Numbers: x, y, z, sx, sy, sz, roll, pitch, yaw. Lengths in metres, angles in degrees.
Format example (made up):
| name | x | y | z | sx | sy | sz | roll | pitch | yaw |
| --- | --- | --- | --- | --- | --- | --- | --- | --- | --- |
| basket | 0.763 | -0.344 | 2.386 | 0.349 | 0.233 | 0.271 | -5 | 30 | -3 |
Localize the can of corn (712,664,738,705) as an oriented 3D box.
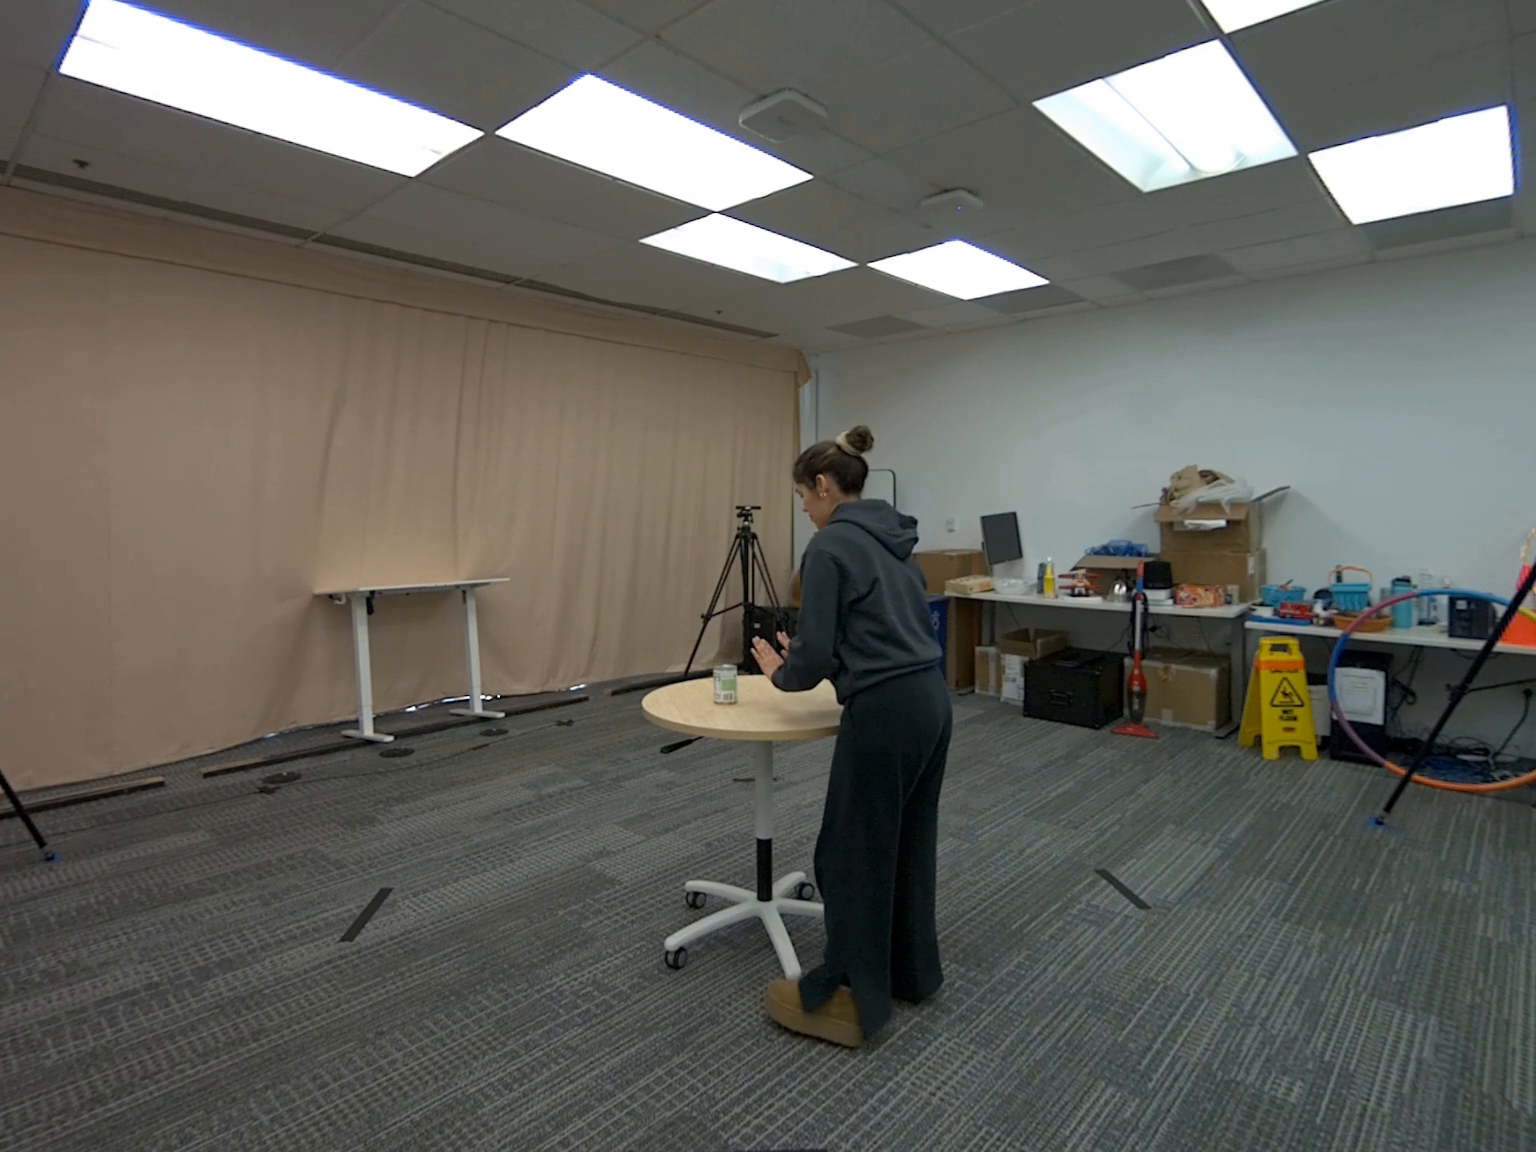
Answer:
| name | x | y | z | sx | sy | sz | roll | pitch | yaw |
| --- | --- | --- | --- | --- | --- | --- | --- | --- | --- |
| can of corn | -0.120 | 0.339 | 2.606 | 0.074 | 0.111 | 0.074 | -1 | 5 | -2 |
